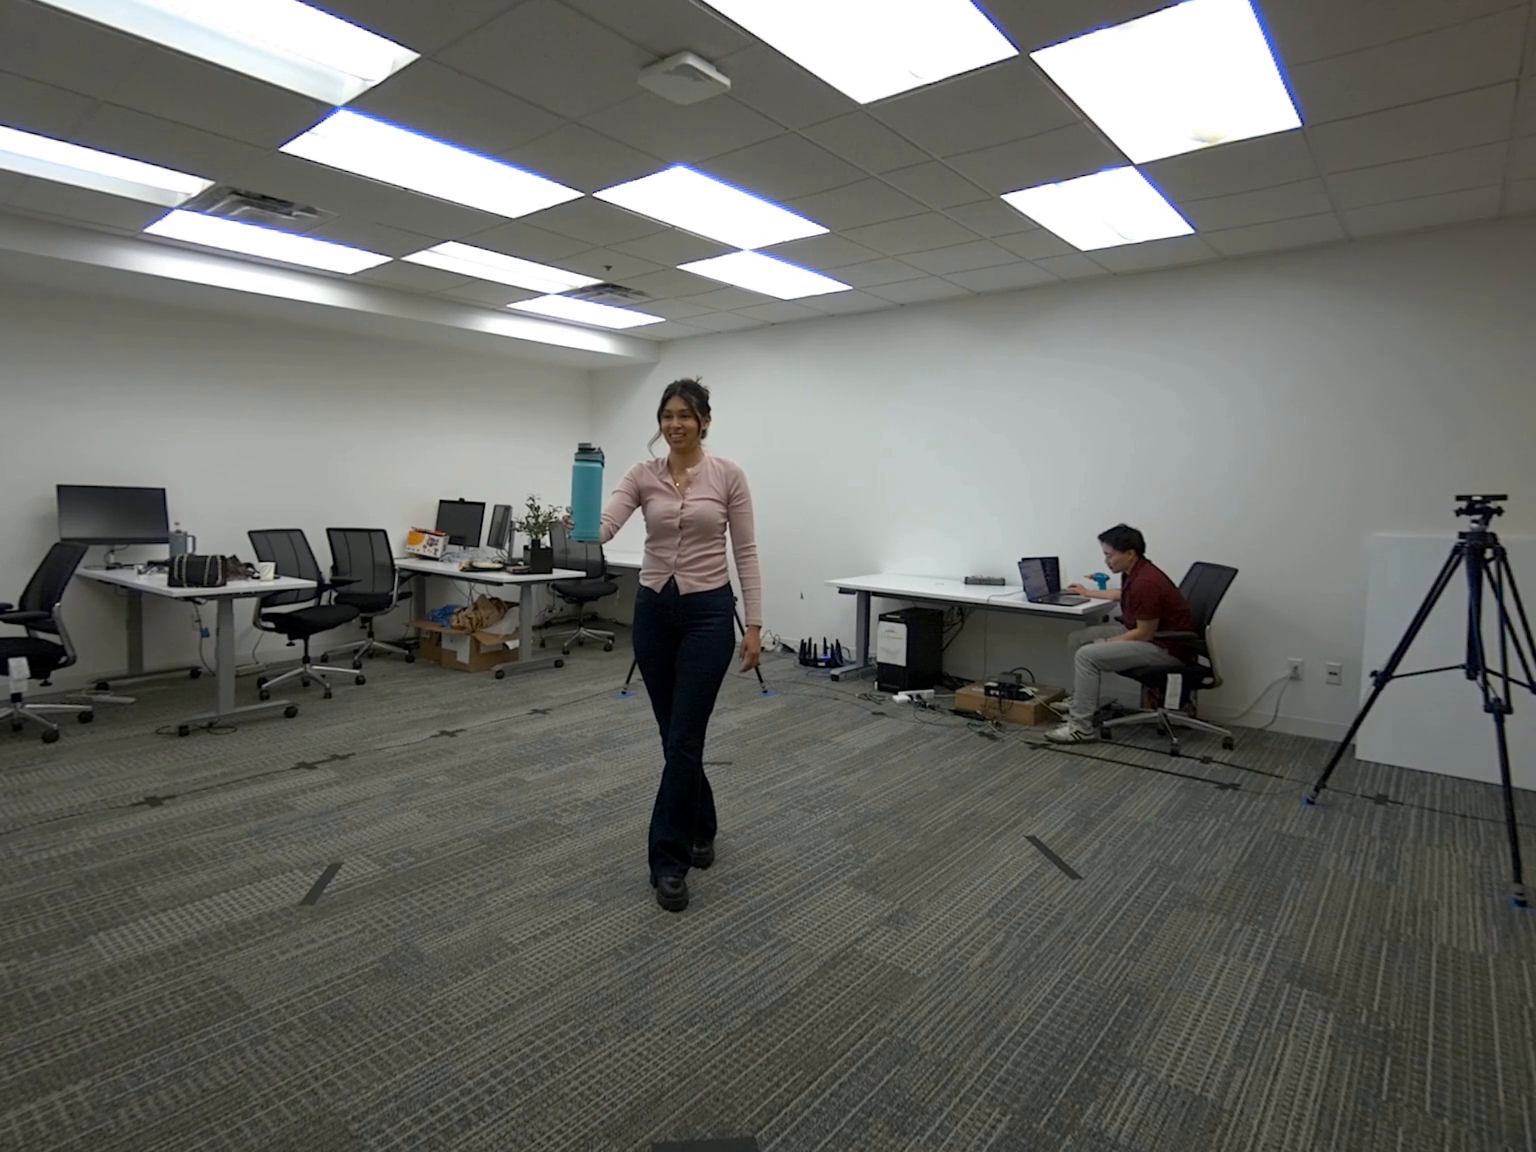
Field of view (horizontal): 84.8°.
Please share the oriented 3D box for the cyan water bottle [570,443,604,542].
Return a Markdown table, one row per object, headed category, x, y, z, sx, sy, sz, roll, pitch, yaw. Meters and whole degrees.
| category | x | y | z | sx | sy | sz | roll | pitch | yaw |
| --- | --- | --- | --- | --- | --- | --- | --- | --- | --- |
| cyan water bottle | -0.536 | -0.250 | 2.479 | 0.092 | 0.283 | 0.092 | 3 | 1 | -2 |
